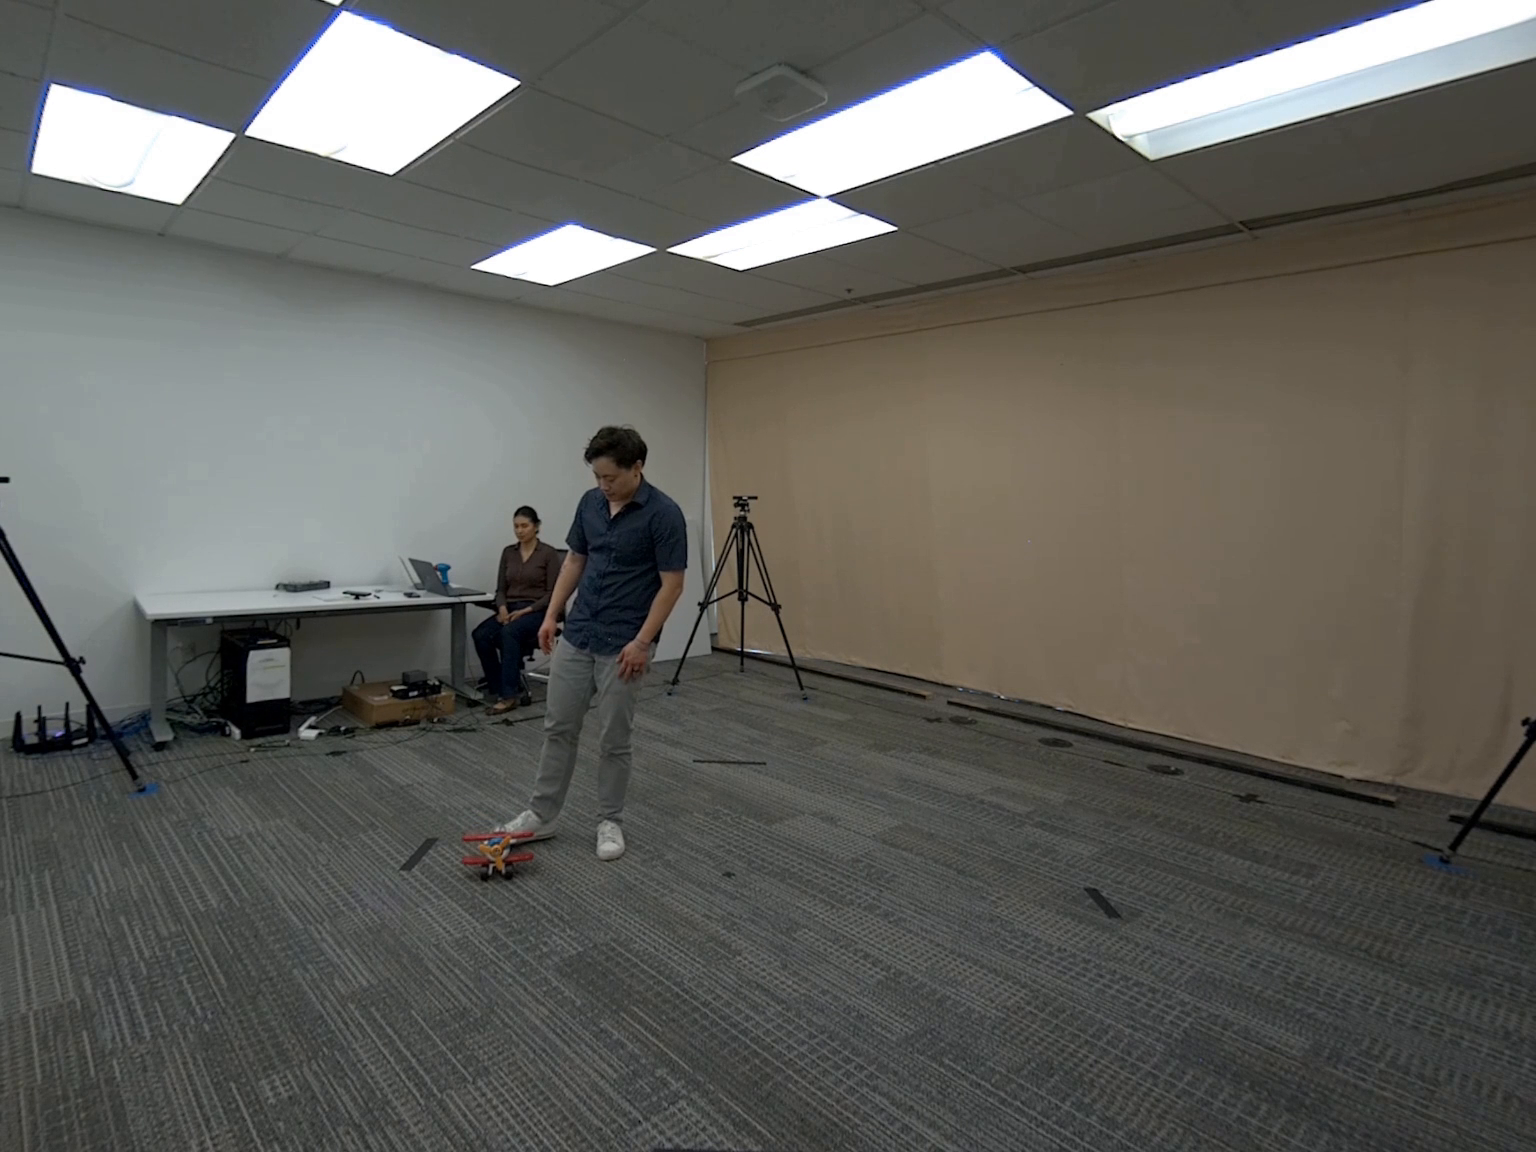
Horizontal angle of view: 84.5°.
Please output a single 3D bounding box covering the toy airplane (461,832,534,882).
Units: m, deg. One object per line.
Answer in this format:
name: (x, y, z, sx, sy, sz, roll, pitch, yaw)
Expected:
toy airplane: (-1.028, 1.012, 3.104, 0.245, 0.156, 0.266, -4, 8, -39)
